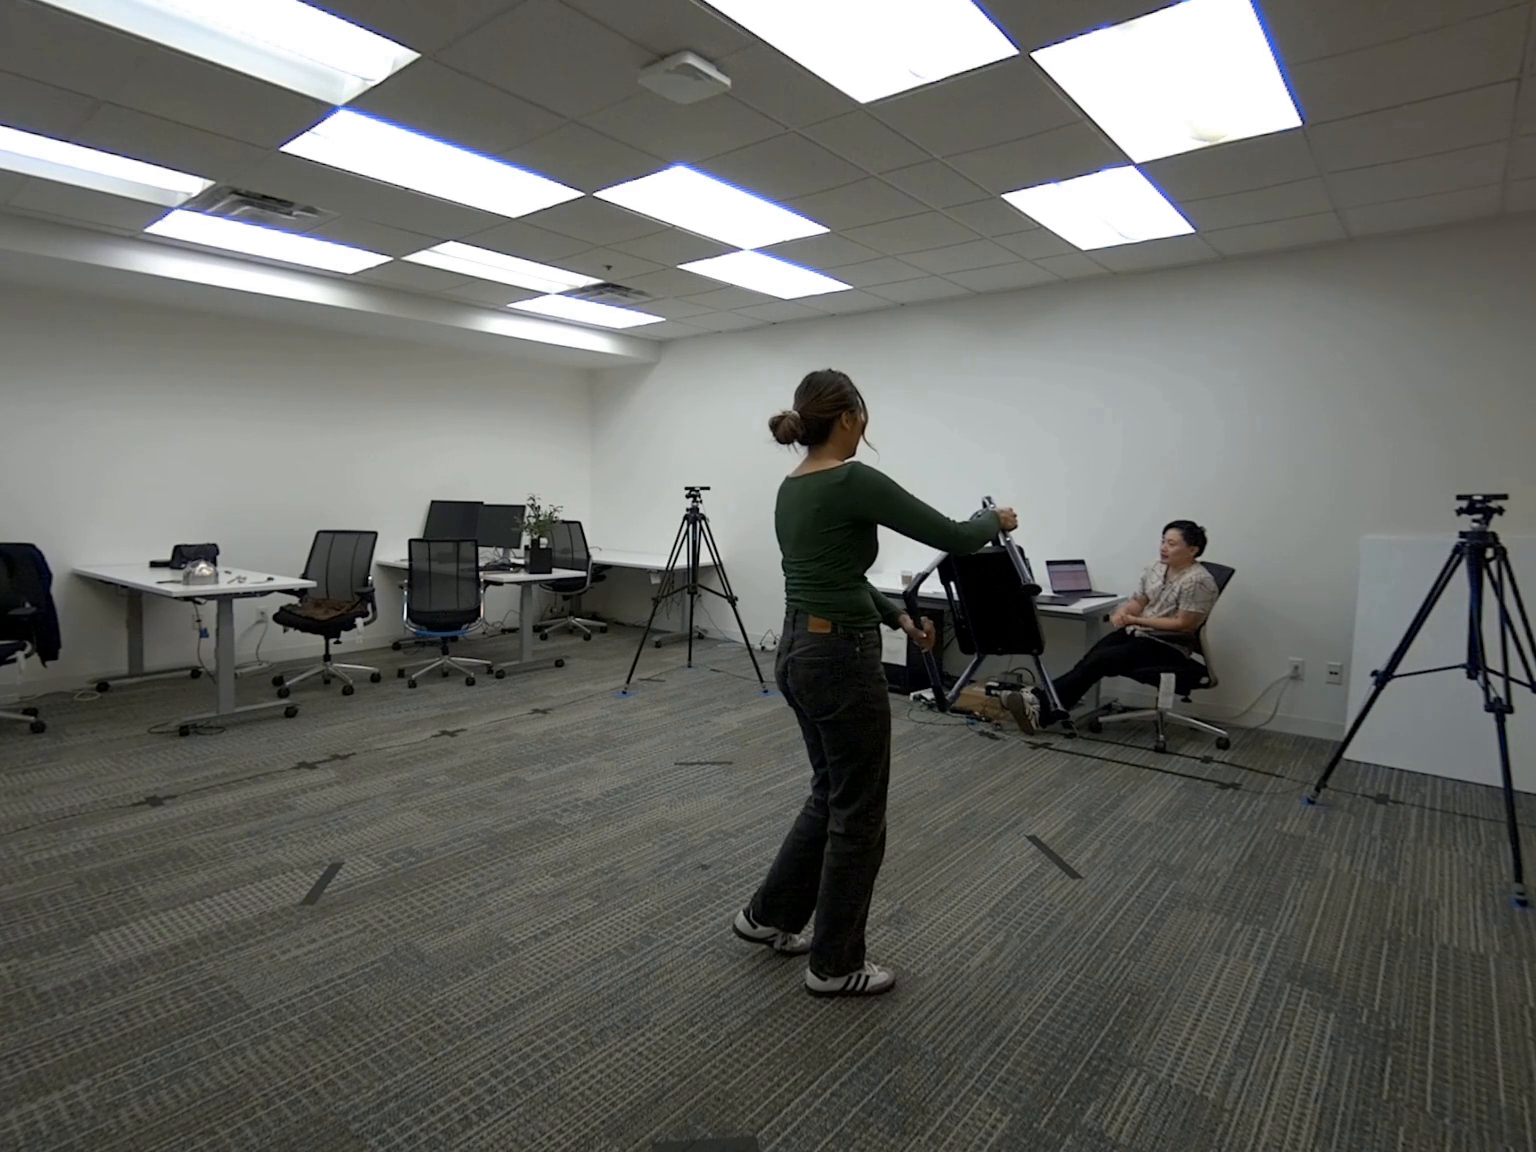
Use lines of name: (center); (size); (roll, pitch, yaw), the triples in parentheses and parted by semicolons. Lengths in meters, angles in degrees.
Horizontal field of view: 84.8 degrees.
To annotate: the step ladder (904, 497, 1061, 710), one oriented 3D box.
step ladder: (0.672, 0.043, 2.444); (0.358, 0.418, 0.608); (-4, 31, 30)
